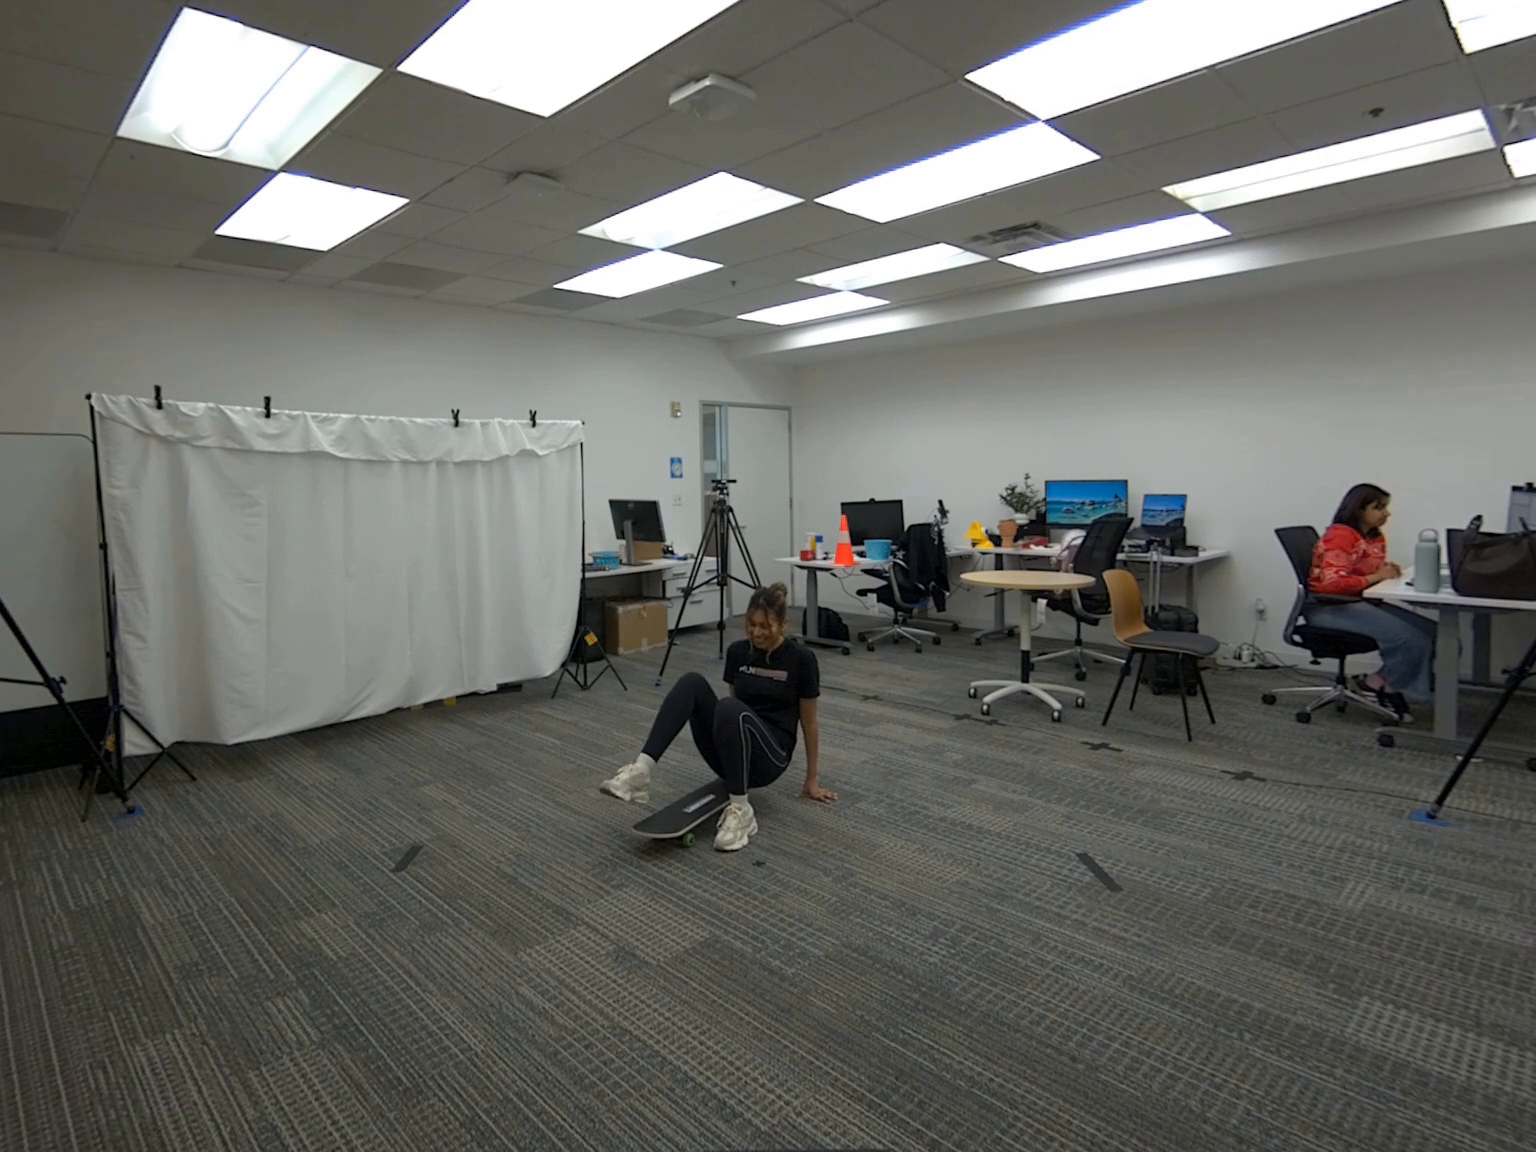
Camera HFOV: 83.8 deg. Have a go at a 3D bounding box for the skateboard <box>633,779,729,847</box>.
[{"bbox_3d":[-0.282,0.962,3.470,0.198,0.110,0.768,1,5,28],"label":"skateboard"}]
